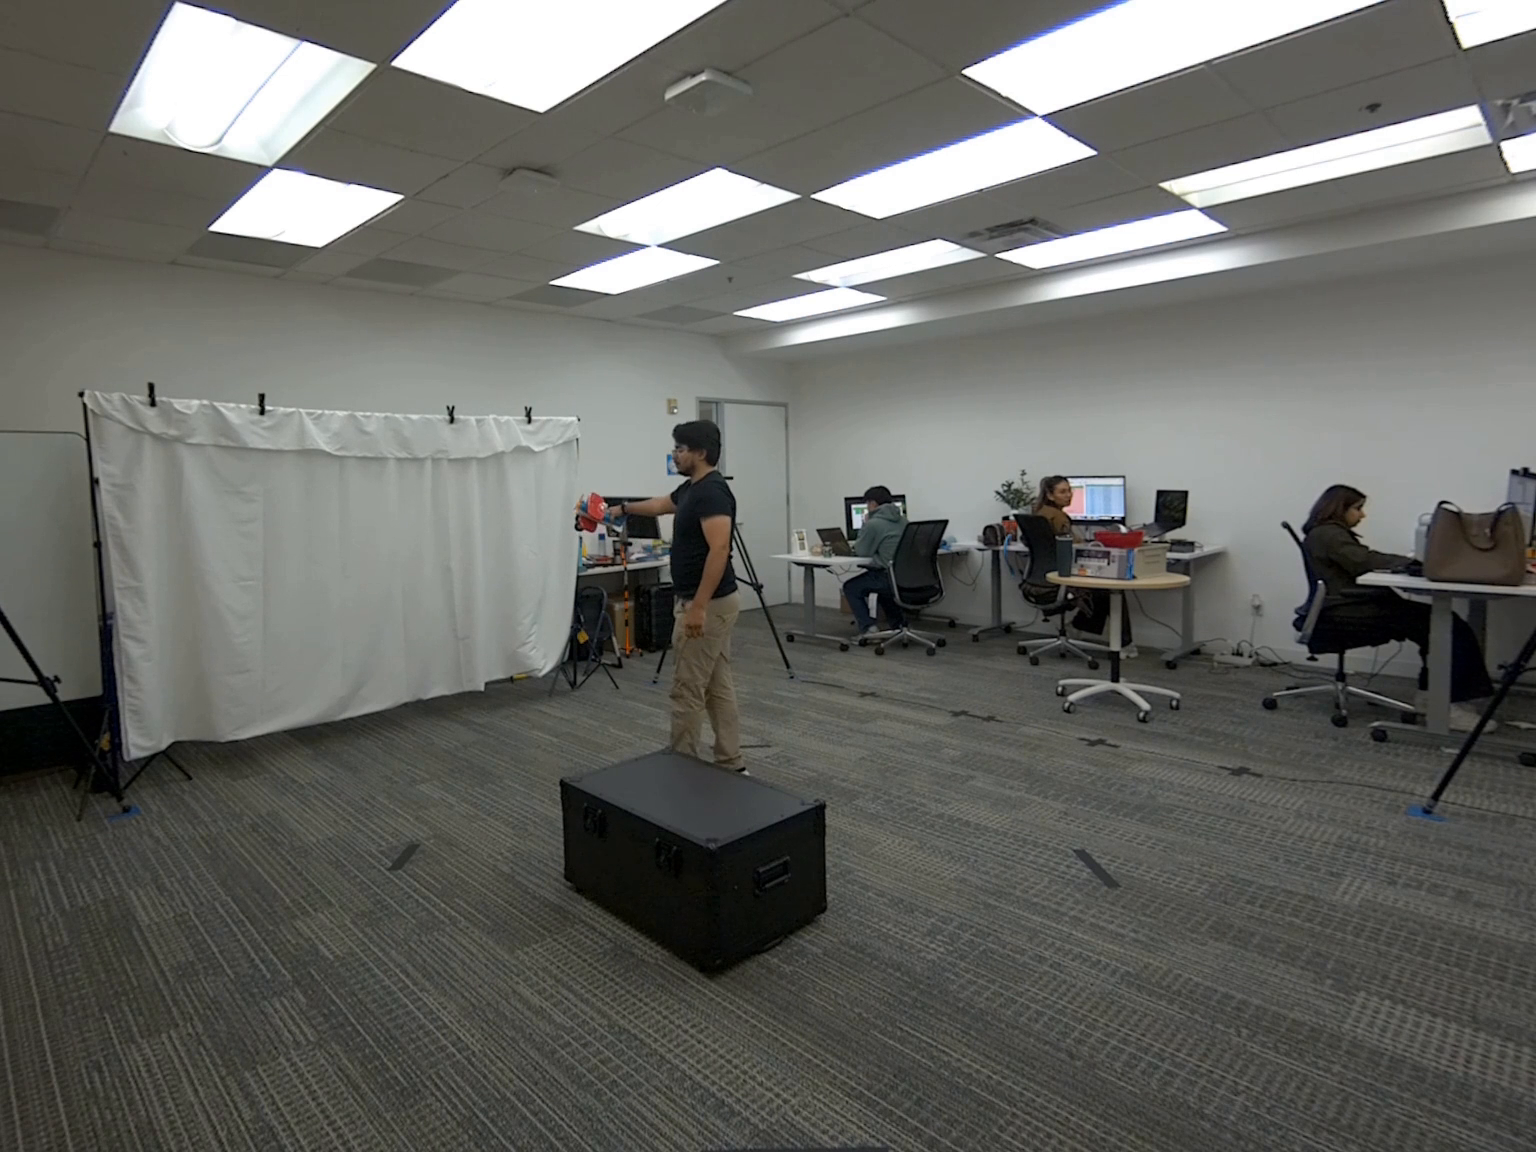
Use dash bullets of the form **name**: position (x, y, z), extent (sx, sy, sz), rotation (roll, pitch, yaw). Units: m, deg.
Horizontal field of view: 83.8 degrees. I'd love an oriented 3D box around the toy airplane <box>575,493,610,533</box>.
- **toy airplane**: position (-0.863, -0.311, 4.375), extent (0.252, 0.154, 0.261), rotation (-5, 37, -38)
